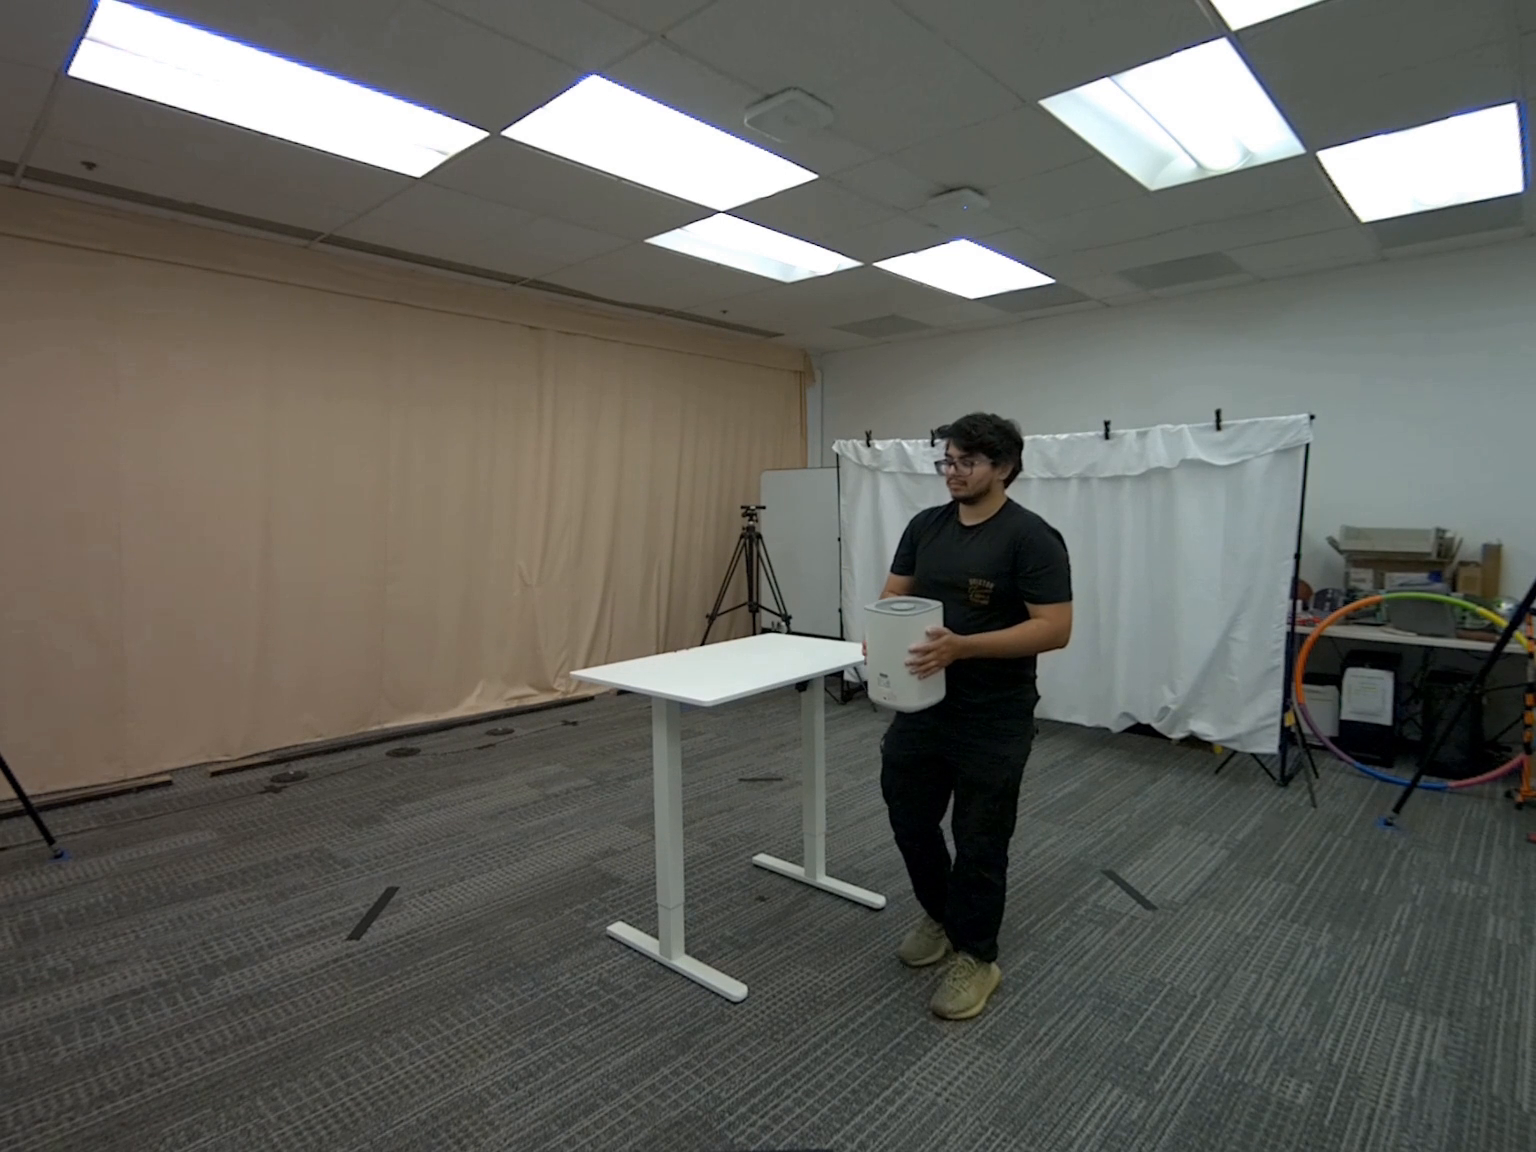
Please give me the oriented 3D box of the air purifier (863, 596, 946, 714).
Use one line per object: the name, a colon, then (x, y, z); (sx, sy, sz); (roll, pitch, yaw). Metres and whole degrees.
air purifier: (0.354, 0.202, 2.214); (0.167, 0.264, 0.177); (-11, 12, -40)
